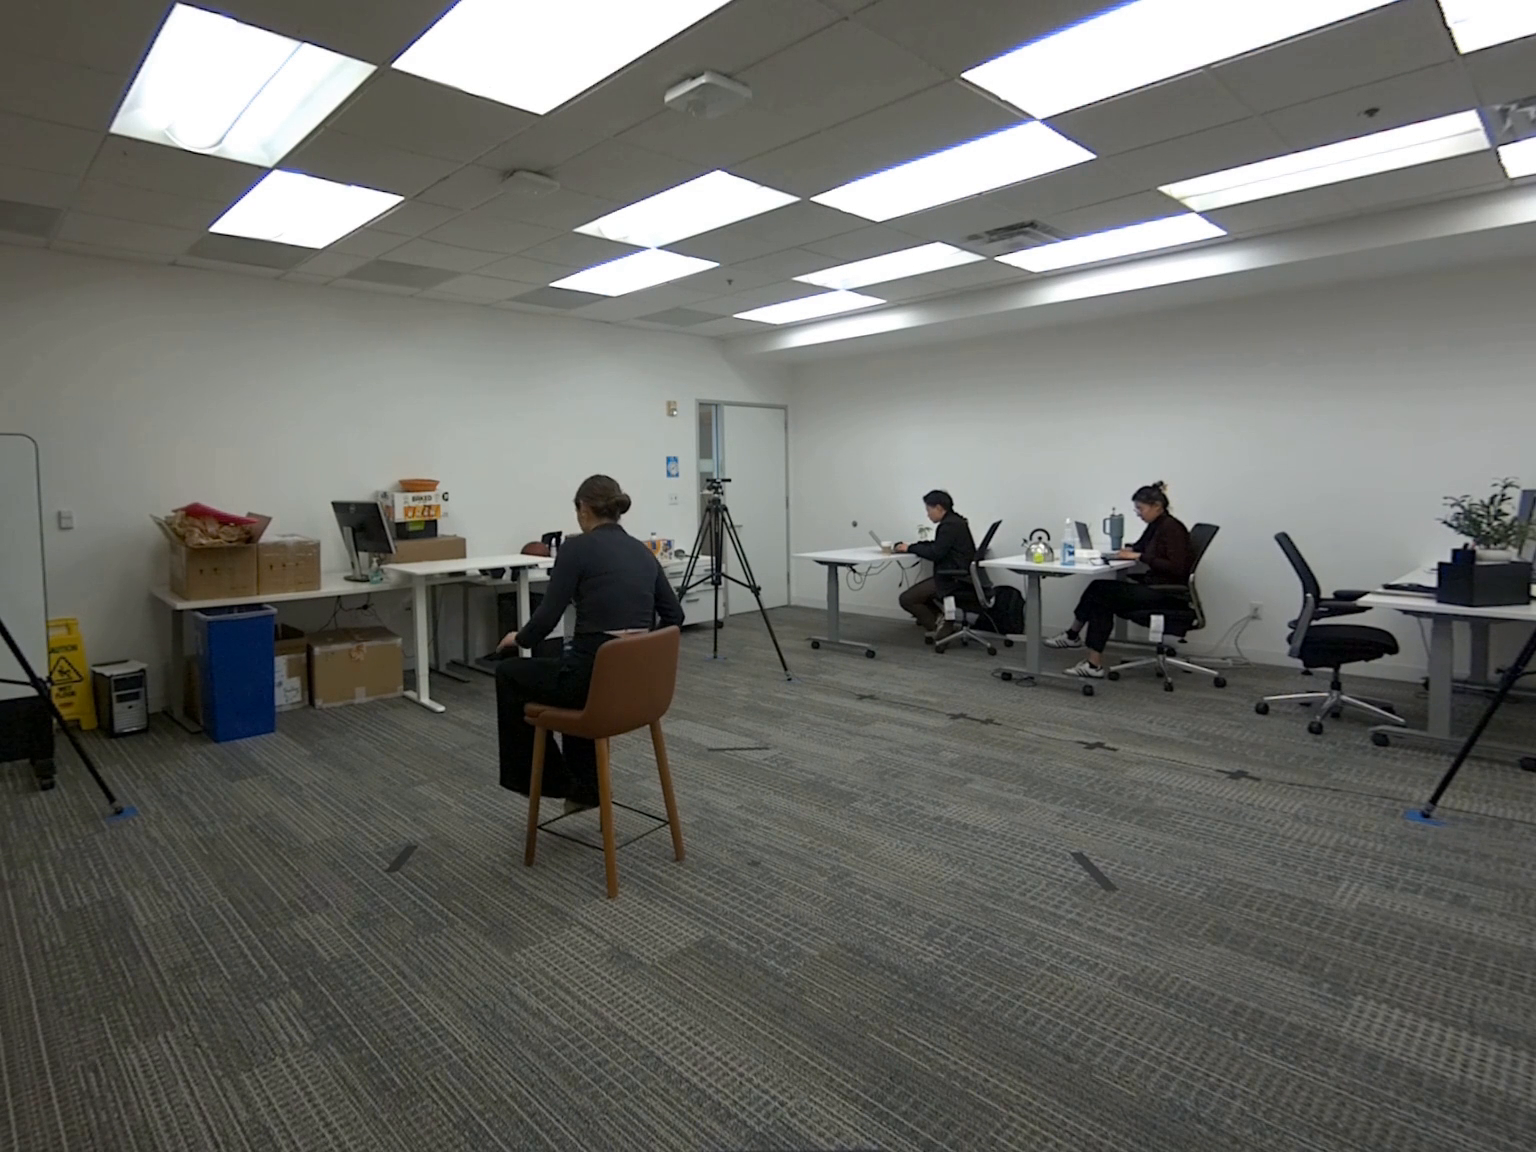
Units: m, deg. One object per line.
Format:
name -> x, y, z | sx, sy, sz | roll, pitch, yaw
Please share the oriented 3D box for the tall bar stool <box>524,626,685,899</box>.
tall bar stool -> -0.594, 0.621, 3.110 | 0.482, 0.885, 0.445 | 4, 7, 37
